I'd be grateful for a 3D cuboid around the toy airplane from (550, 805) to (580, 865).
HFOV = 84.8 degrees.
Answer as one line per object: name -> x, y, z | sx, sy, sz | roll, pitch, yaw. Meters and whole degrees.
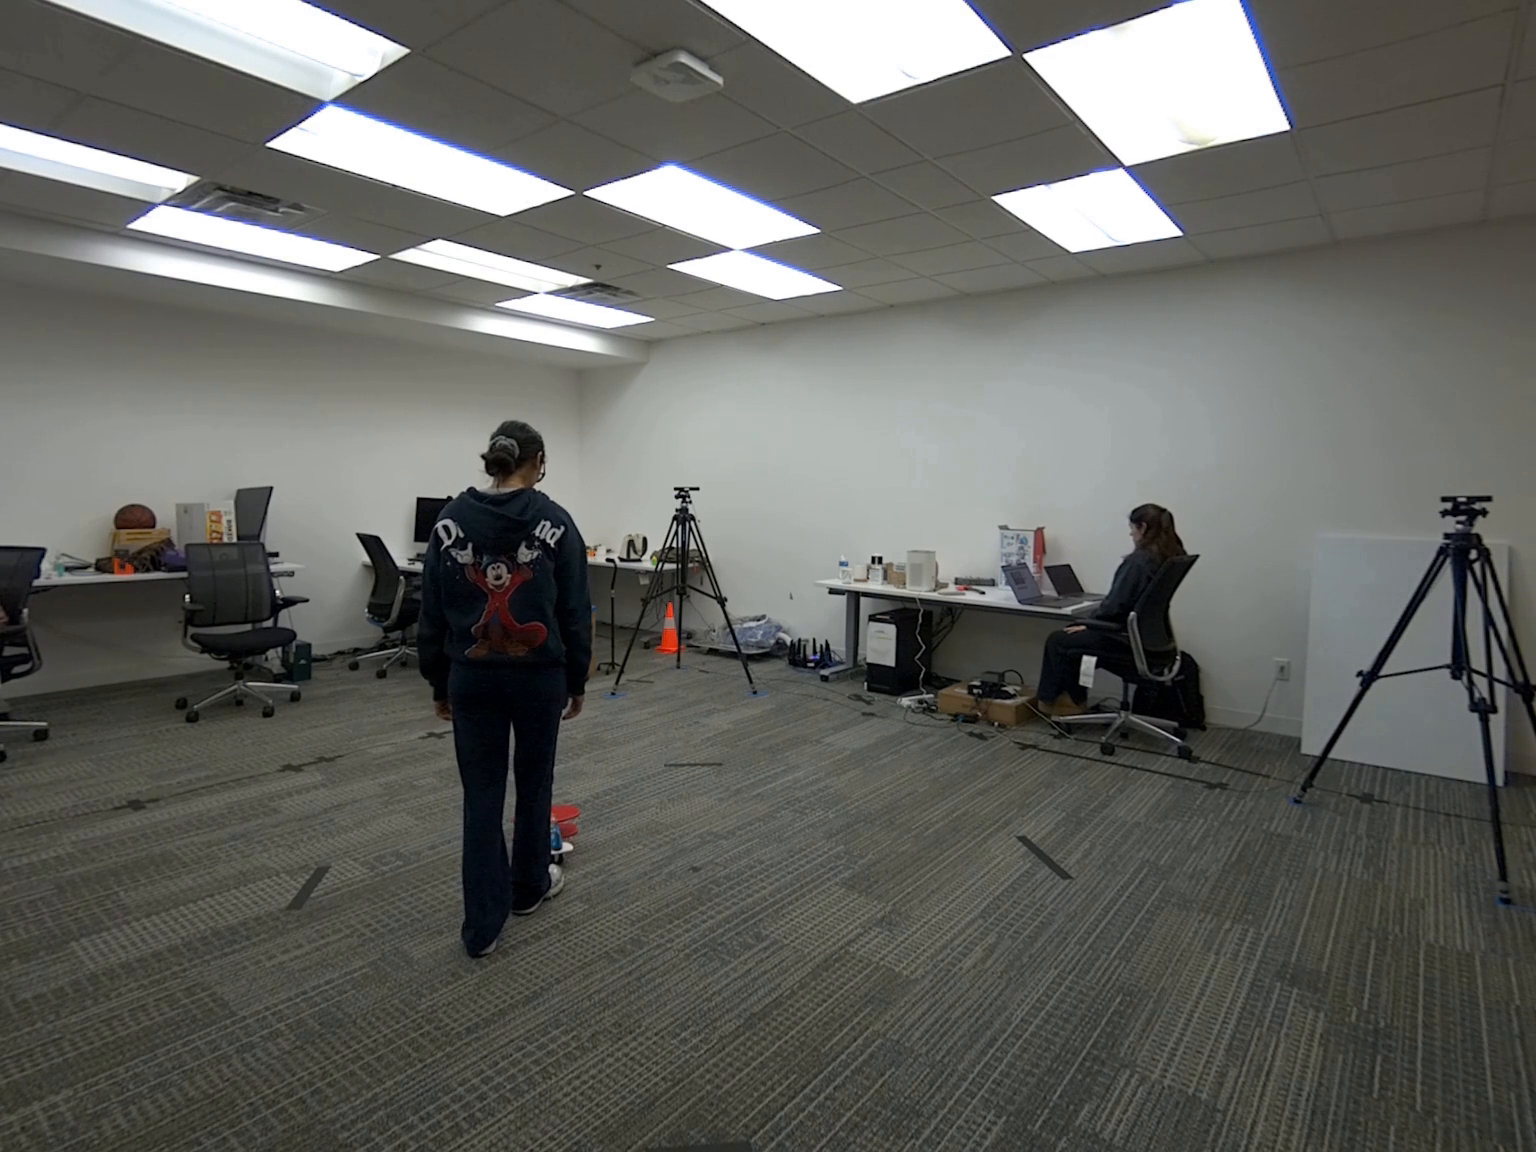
toy airplane -> -0.826, 0.970, 3.218 | 0.267, 0.156, 0.244 | 2, 5, 33
